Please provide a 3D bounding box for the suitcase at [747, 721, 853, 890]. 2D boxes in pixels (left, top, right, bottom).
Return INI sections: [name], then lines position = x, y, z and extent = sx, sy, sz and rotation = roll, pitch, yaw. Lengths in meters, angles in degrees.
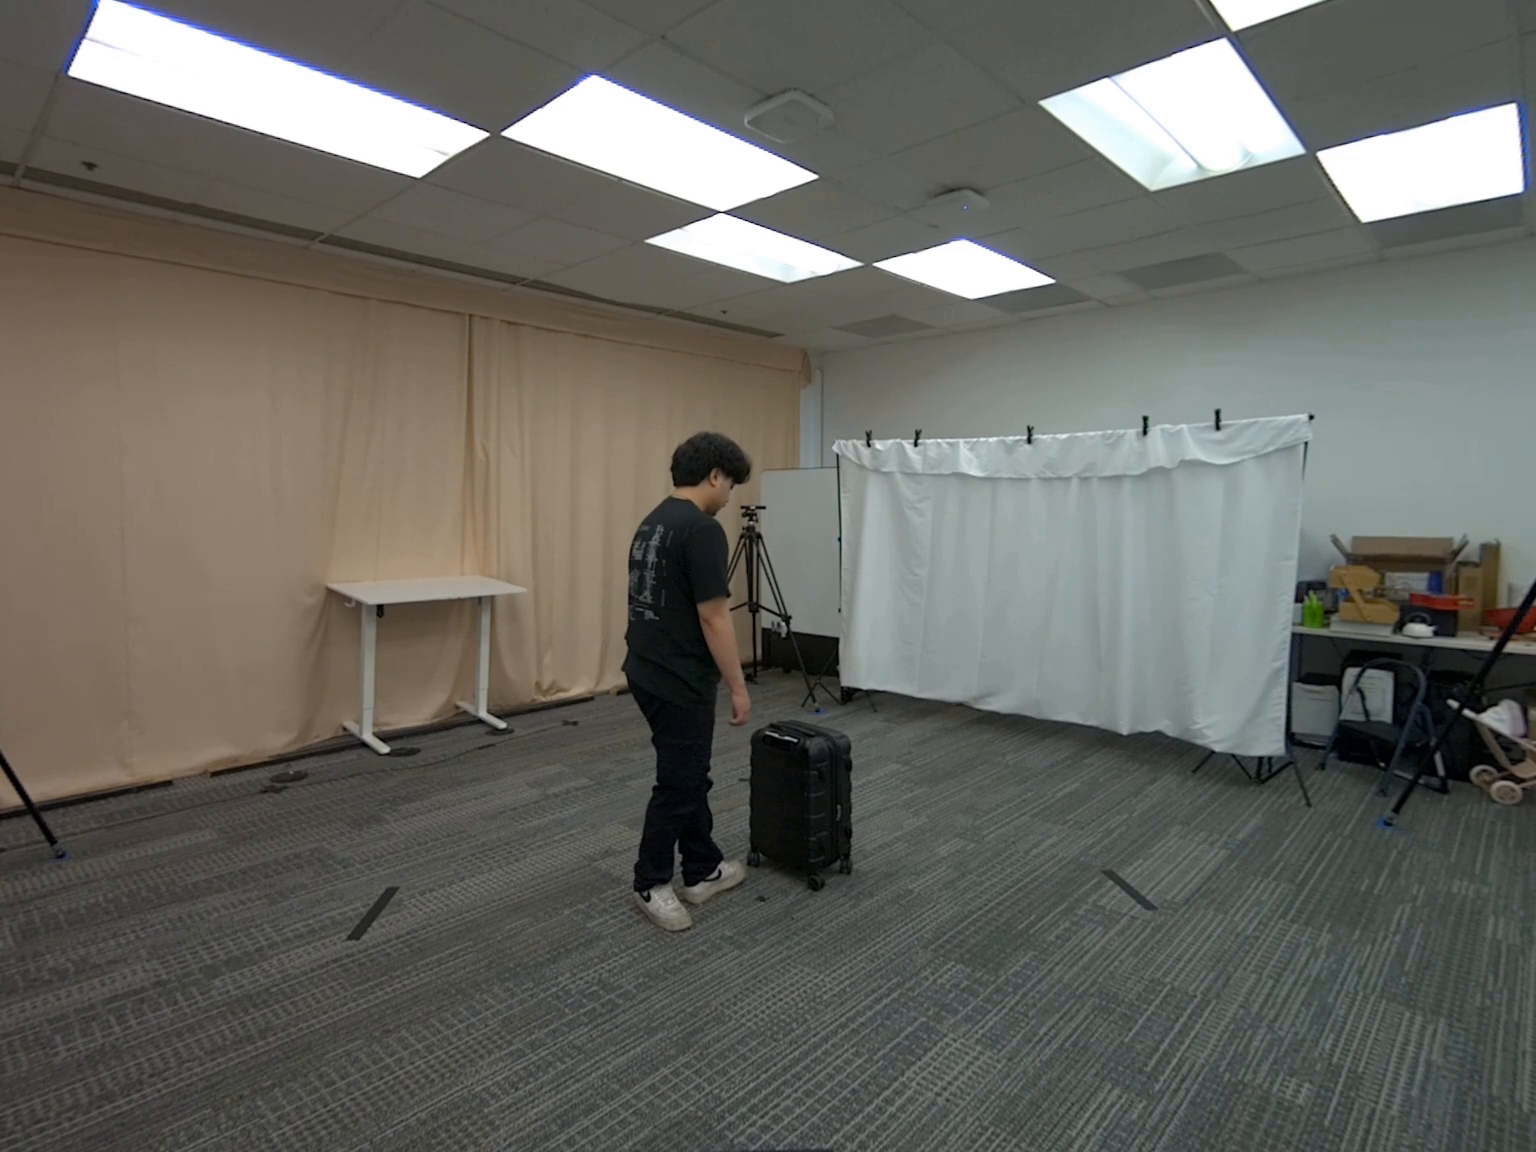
[suitcase]
position = 0.124, 0.850, 3.243
extent = 0.388, 0.549, 0.240
rotation = 3, 2, 44
